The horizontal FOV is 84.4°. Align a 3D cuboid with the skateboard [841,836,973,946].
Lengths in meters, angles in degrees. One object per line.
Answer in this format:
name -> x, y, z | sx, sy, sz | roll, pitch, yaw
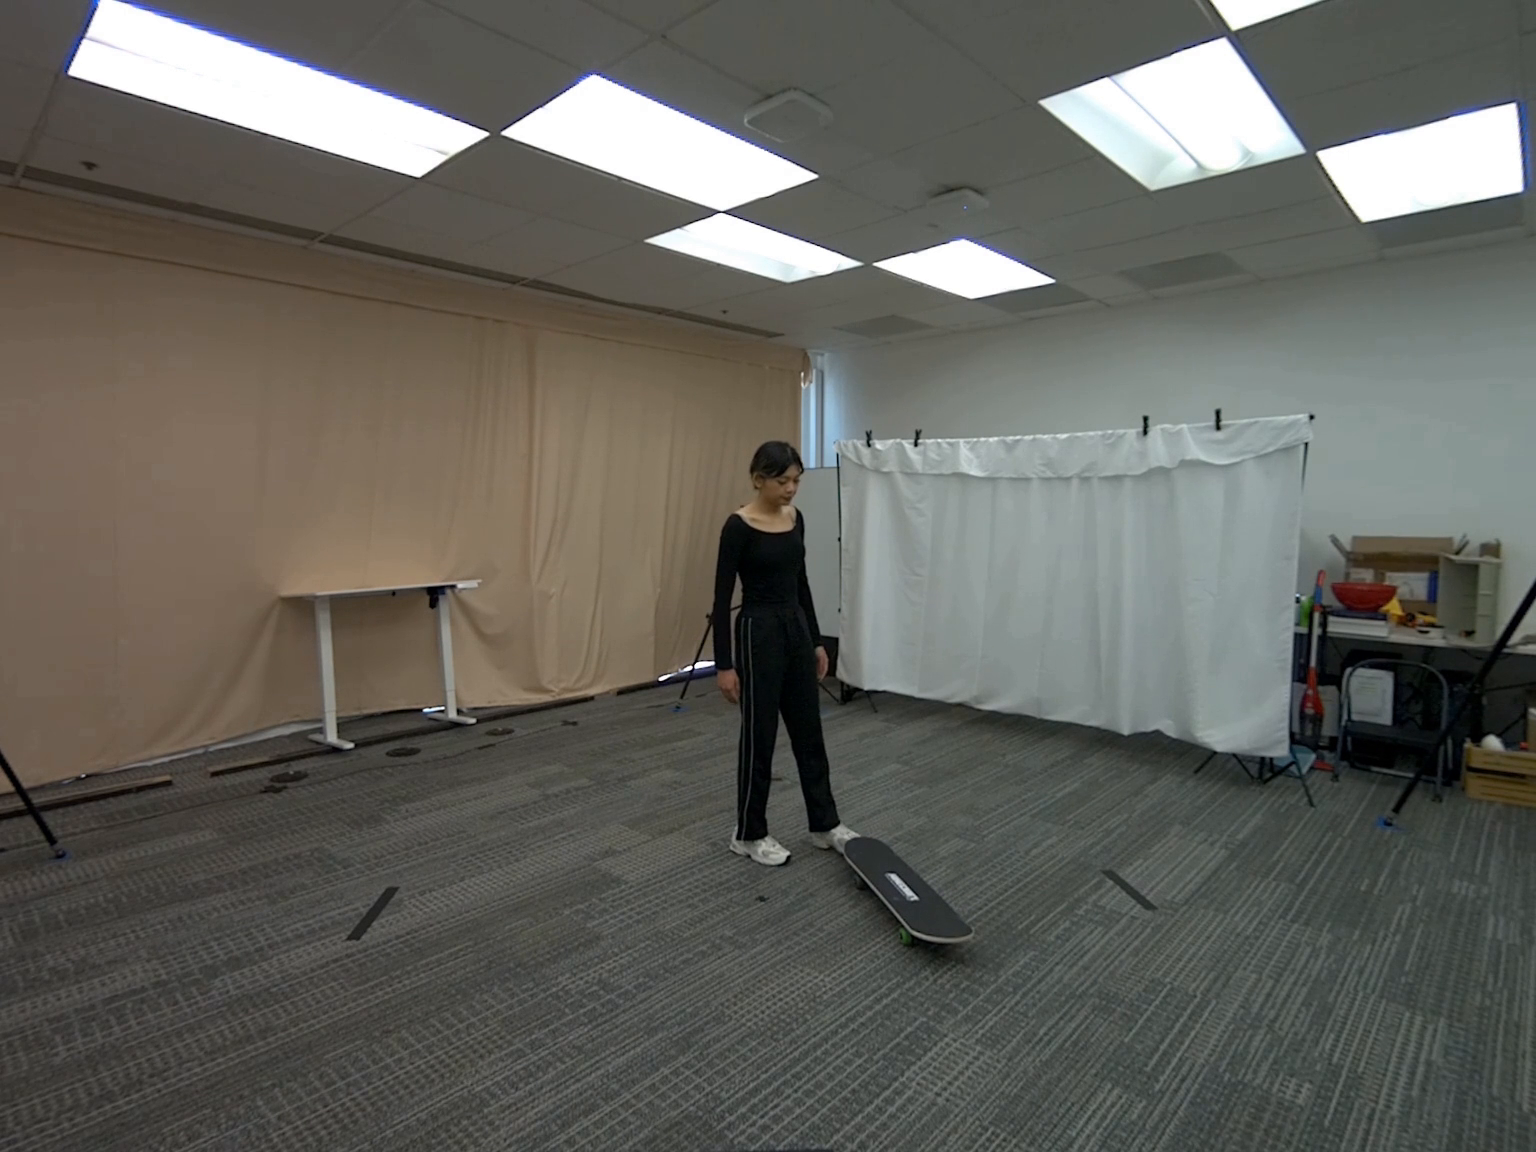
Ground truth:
skateboard -> 0.465, 1.095, 2.880 | 0.191, 0.110, 0.798 | -2, 5, -15
